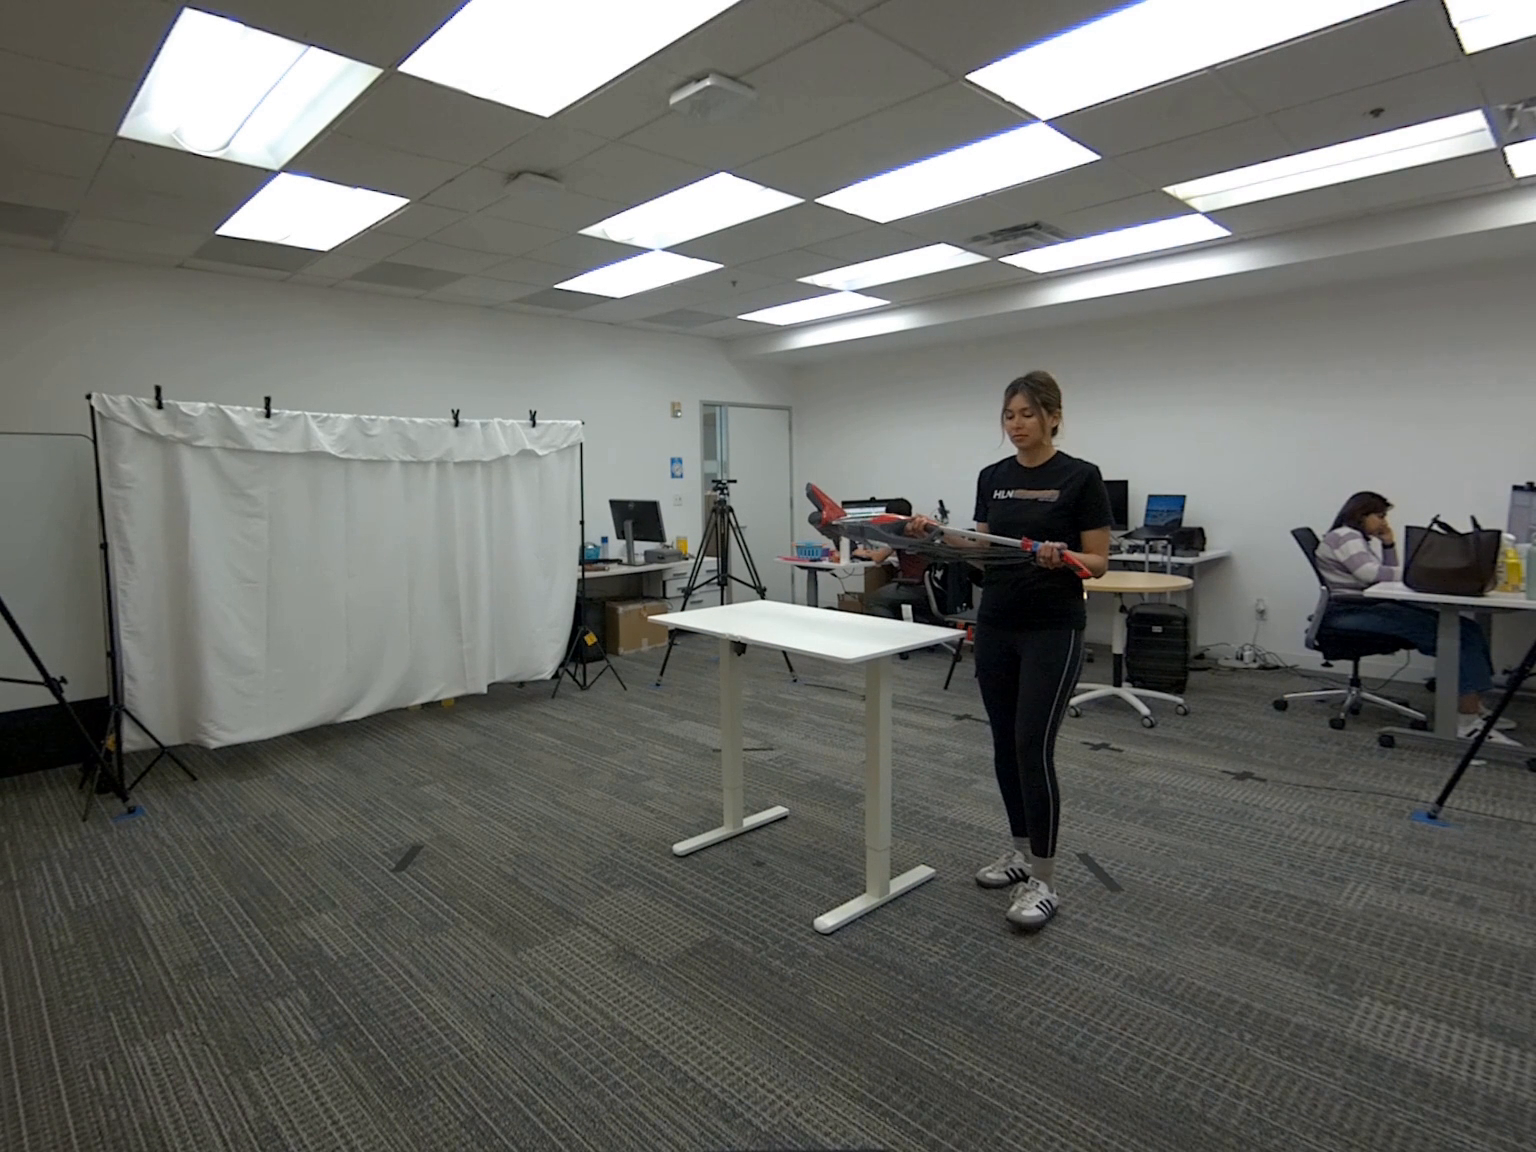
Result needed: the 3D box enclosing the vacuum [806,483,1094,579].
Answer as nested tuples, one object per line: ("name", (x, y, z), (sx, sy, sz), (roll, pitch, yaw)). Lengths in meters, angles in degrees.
("vacuum", (0.551, -0.118, 2.807), (1.087, 0.144, 0.243), (18, -12, 47))
